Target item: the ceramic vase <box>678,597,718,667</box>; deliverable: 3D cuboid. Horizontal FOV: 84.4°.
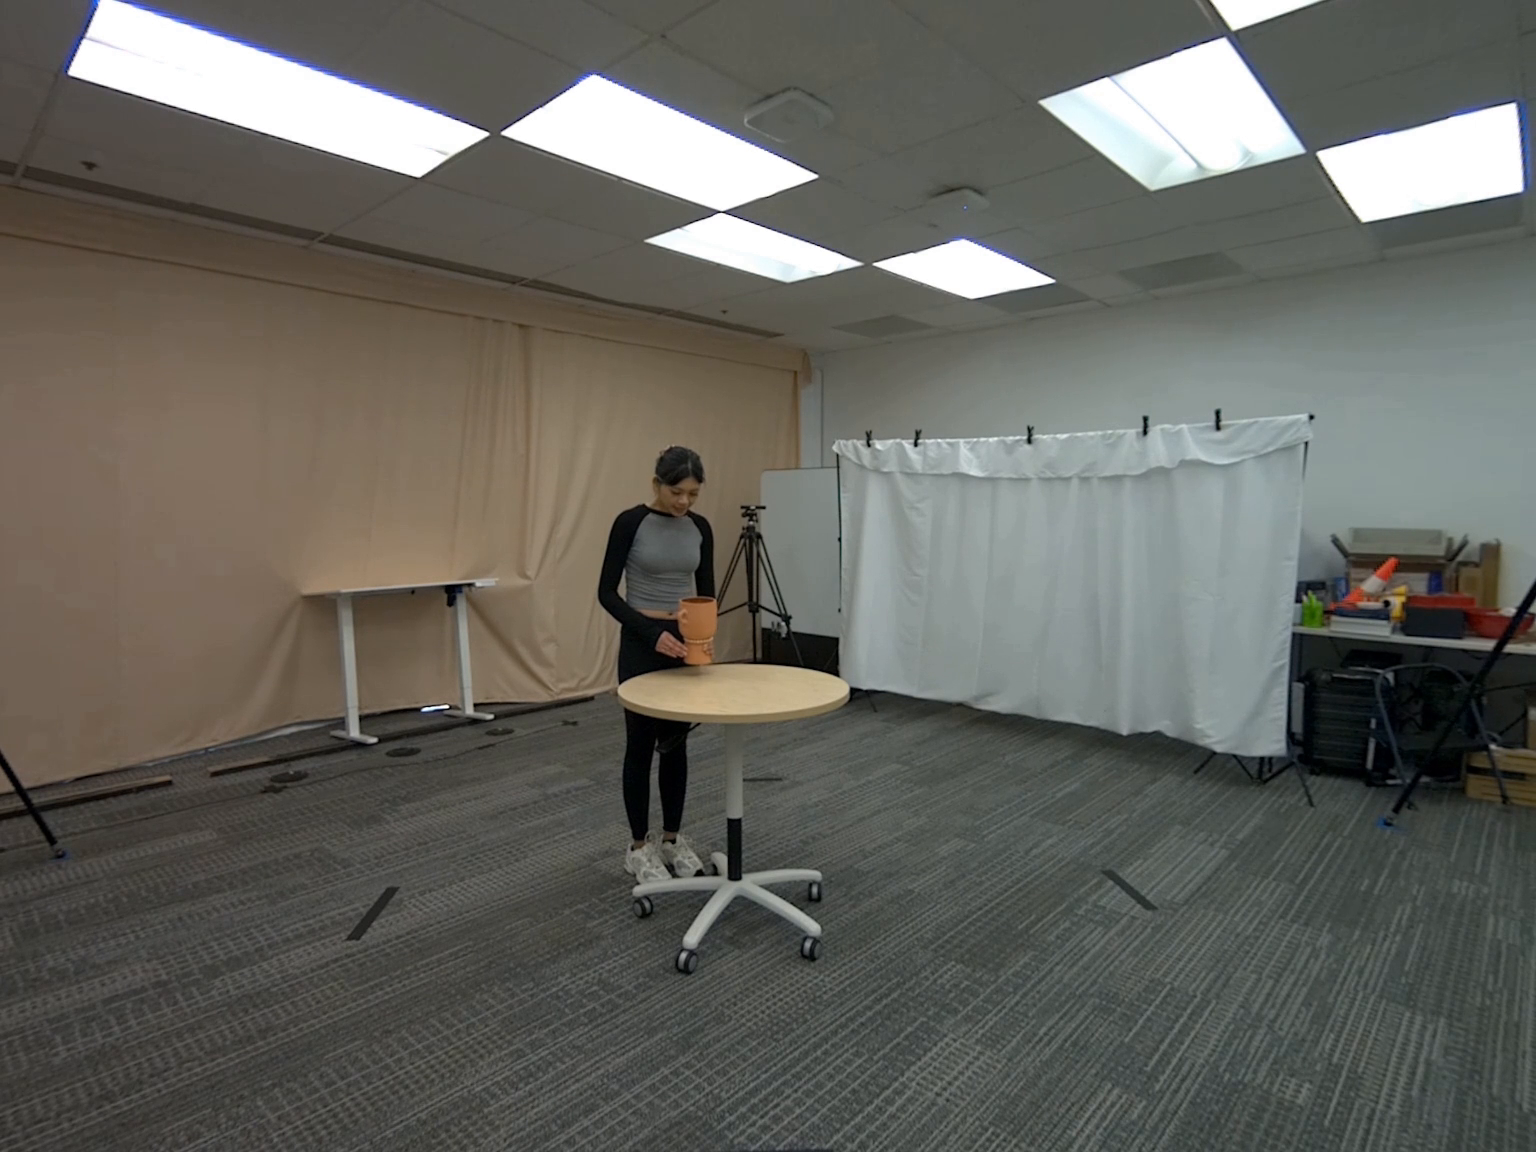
[{"bbox_3d":[-0.249,0.192,2.975,0.157,0.218,0.137,0,10,-11],"label":"ceramic vase"}]
